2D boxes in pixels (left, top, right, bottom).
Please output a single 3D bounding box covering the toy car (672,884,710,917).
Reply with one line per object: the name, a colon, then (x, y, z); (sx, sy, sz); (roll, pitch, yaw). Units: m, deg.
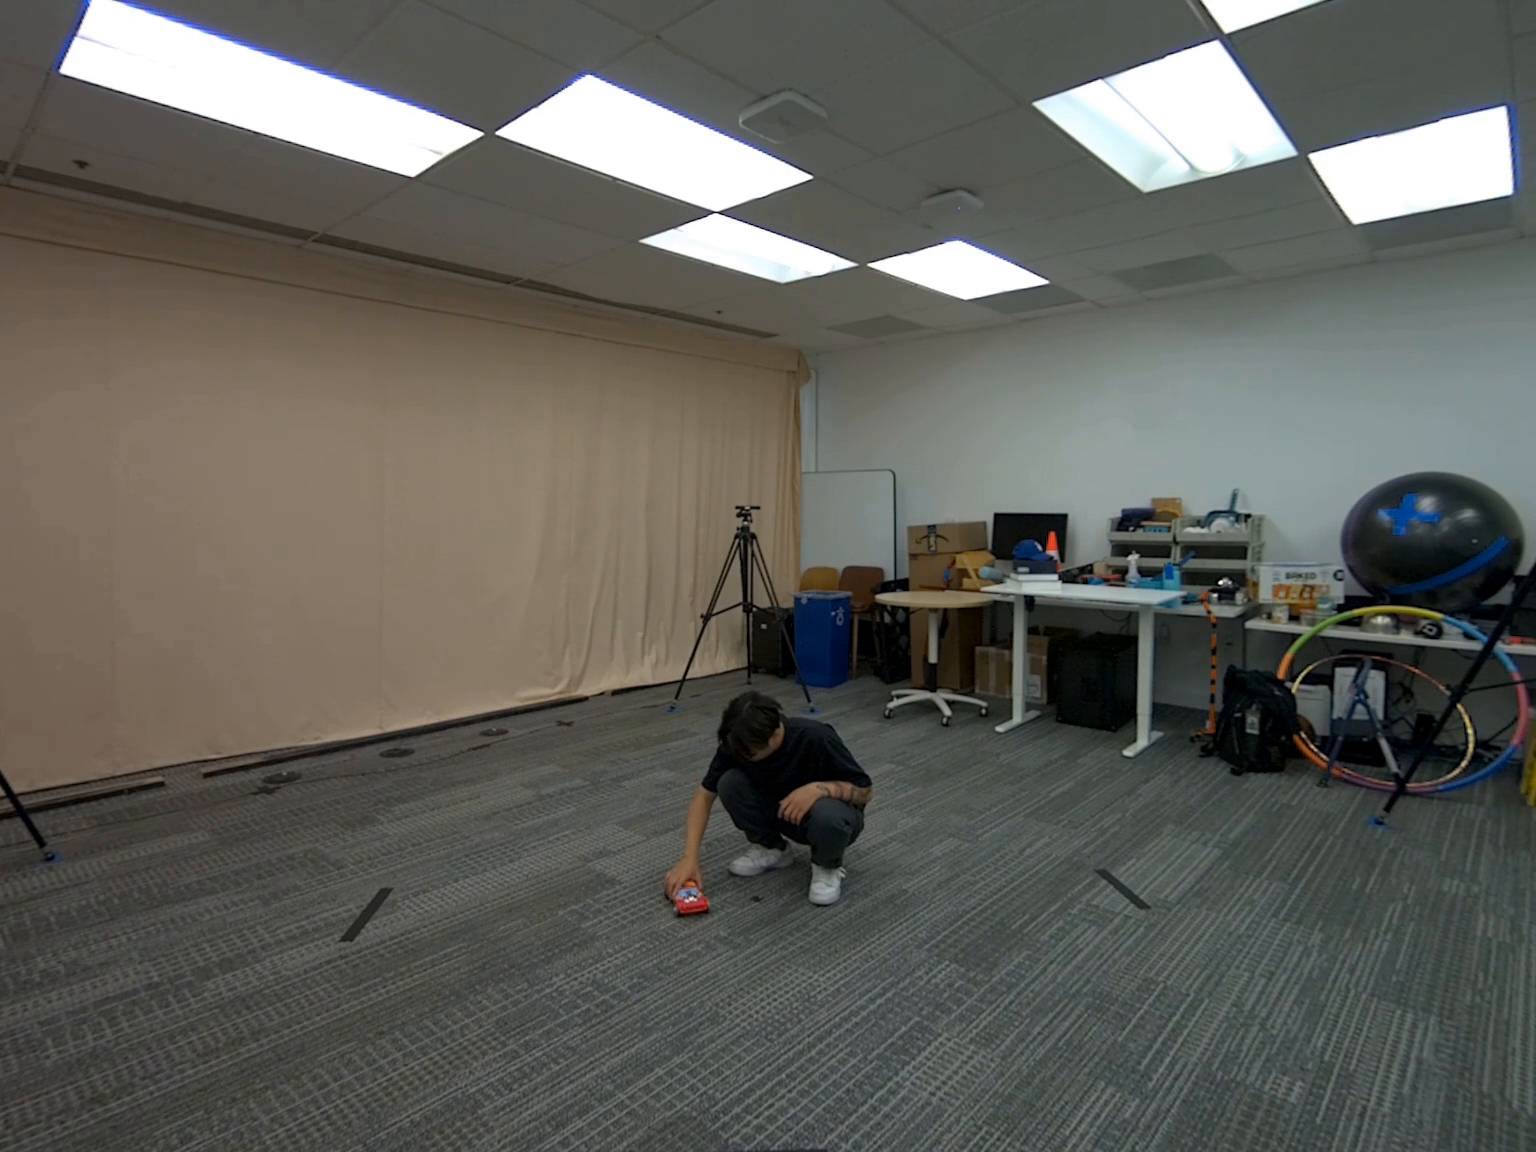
toy car: (-0.298, 1.120, 2.978); (0.128, 0.082, 0.261); (-1, 13, -19)
